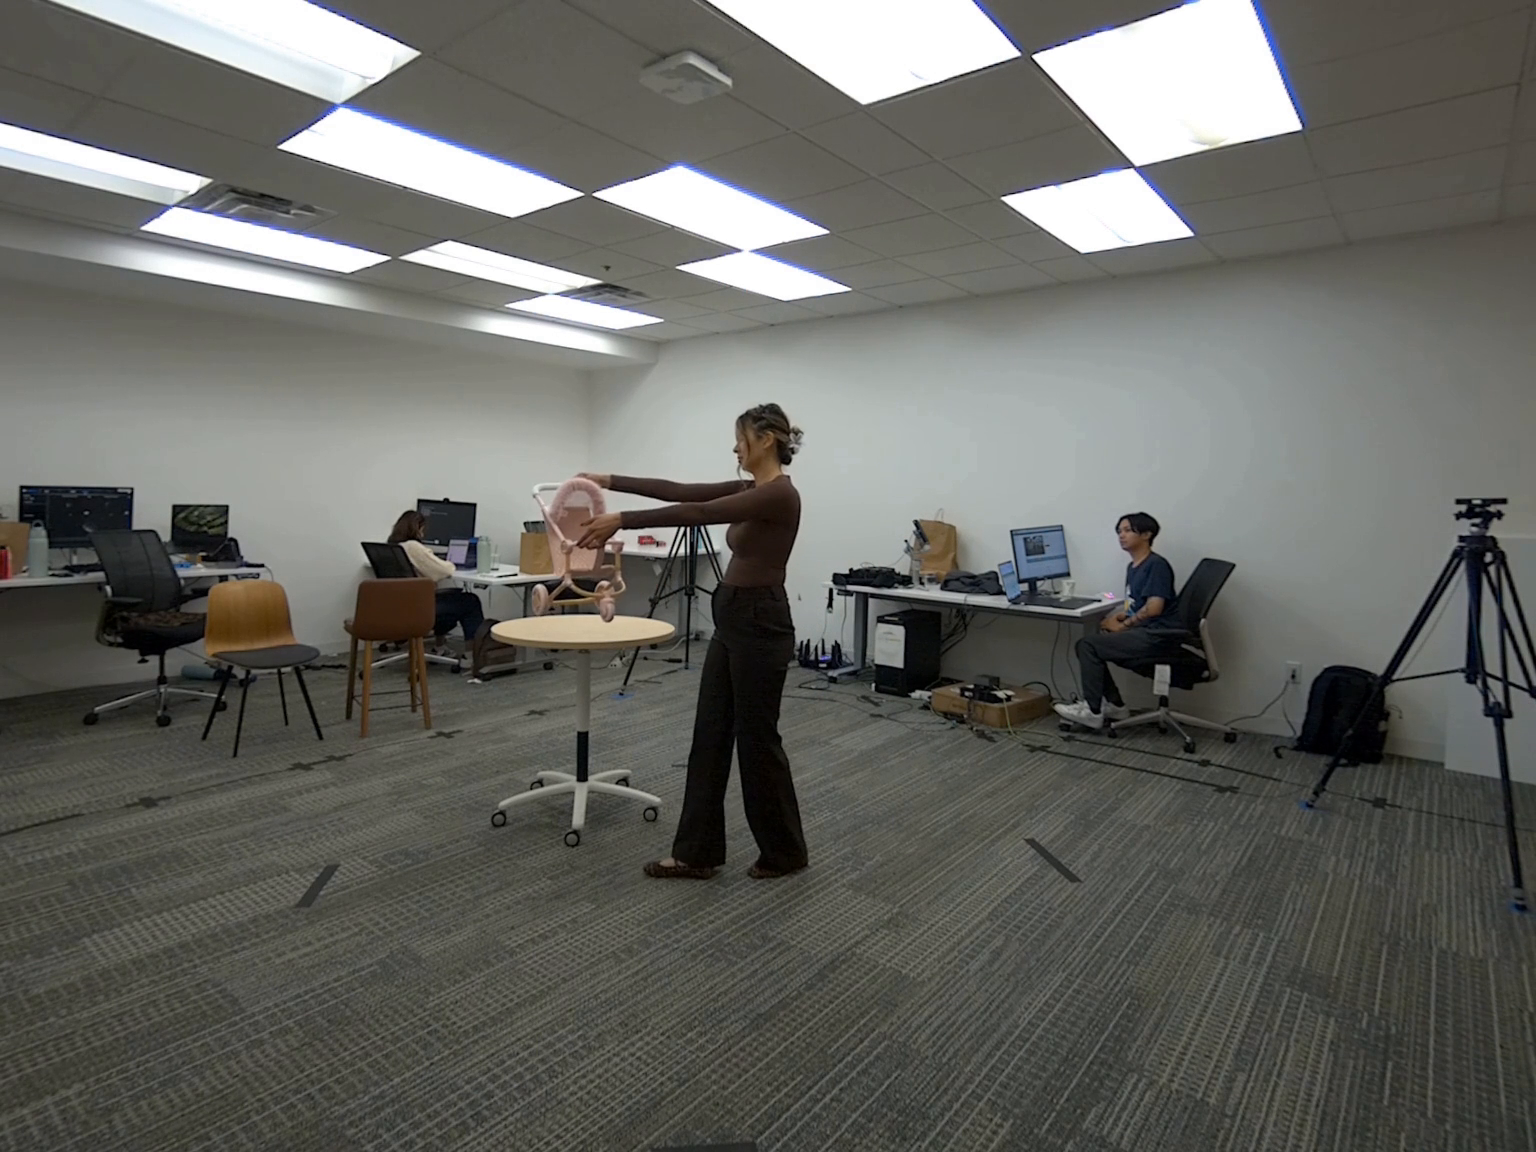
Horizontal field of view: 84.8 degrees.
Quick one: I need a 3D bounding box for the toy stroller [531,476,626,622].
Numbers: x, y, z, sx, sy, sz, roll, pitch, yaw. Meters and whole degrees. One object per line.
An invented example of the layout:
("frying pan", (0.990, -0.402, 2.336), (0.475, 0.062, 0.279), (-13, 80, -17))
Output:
("toy stroller", (-0.647, -0.098, 2.889), (0.273, 0.540, 0.348), (-2, -9, -33))
